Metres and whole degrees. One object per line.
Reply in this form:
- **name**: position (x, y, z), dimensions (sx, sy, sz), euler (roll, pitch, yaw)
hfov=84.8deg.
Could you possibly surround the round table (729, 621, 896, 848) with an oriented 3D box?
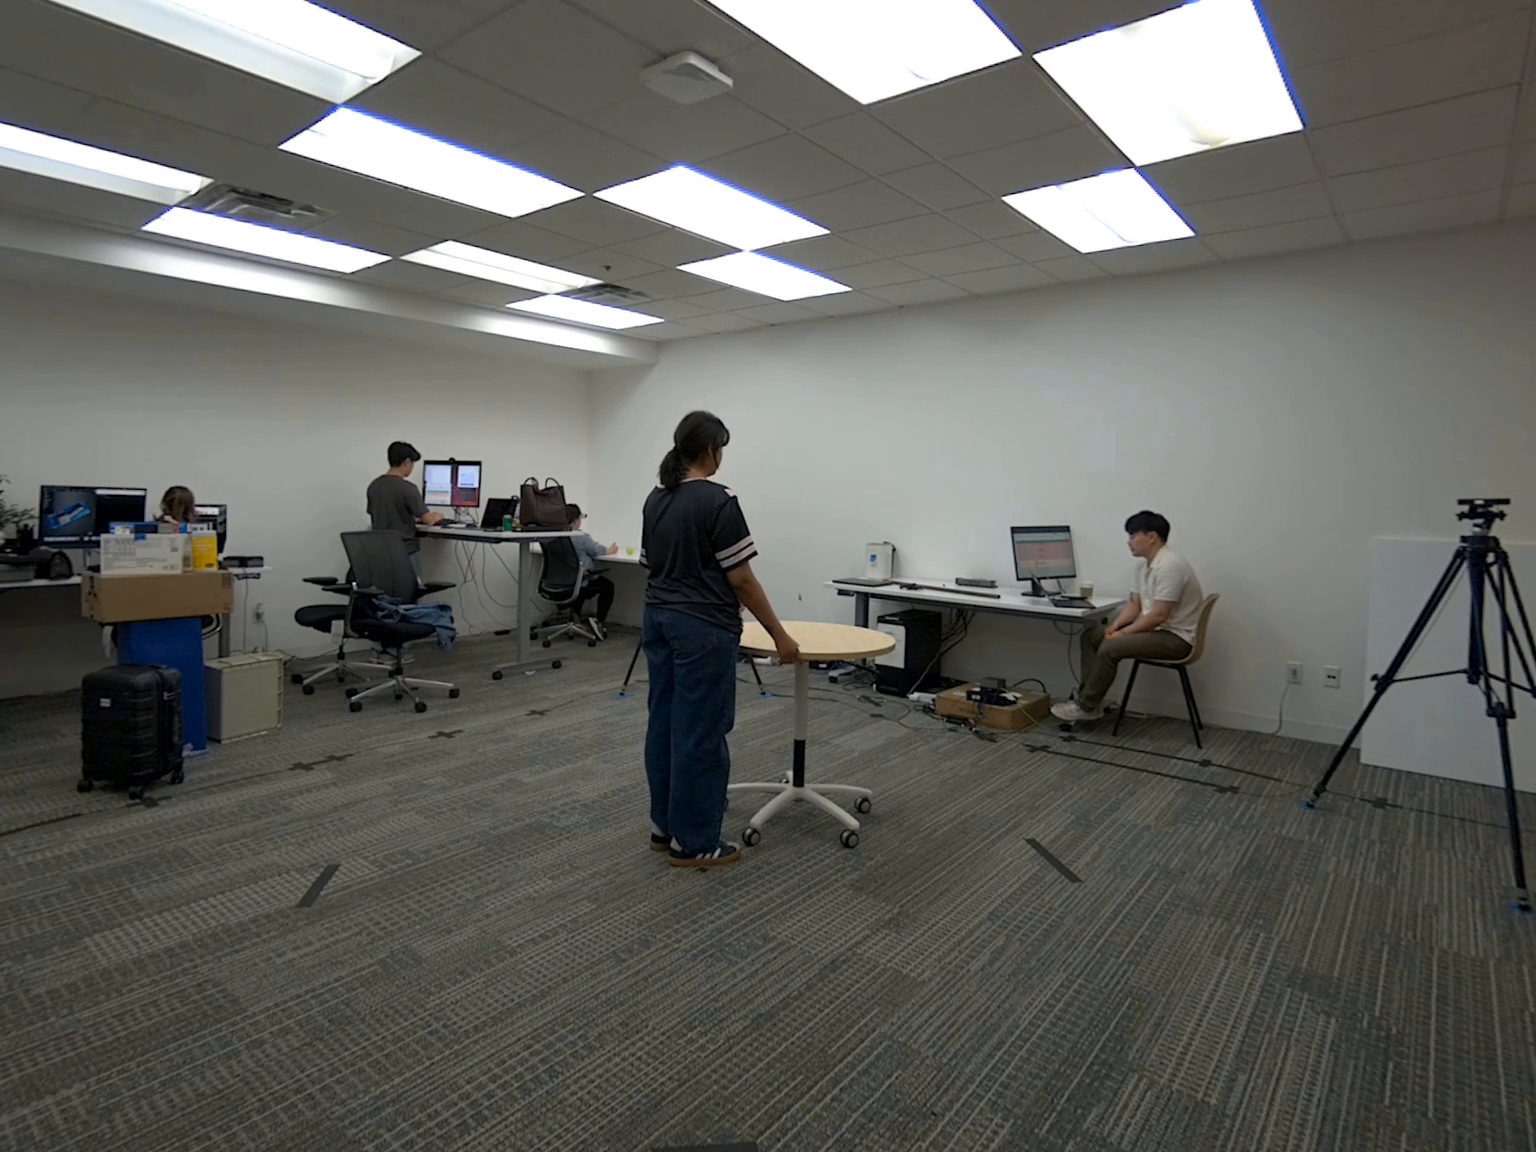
- **round table**: position (0.111, 0.634, 3.589), dimensions (0.784, 0.784, 0.789), euler (2, 4, -2)
